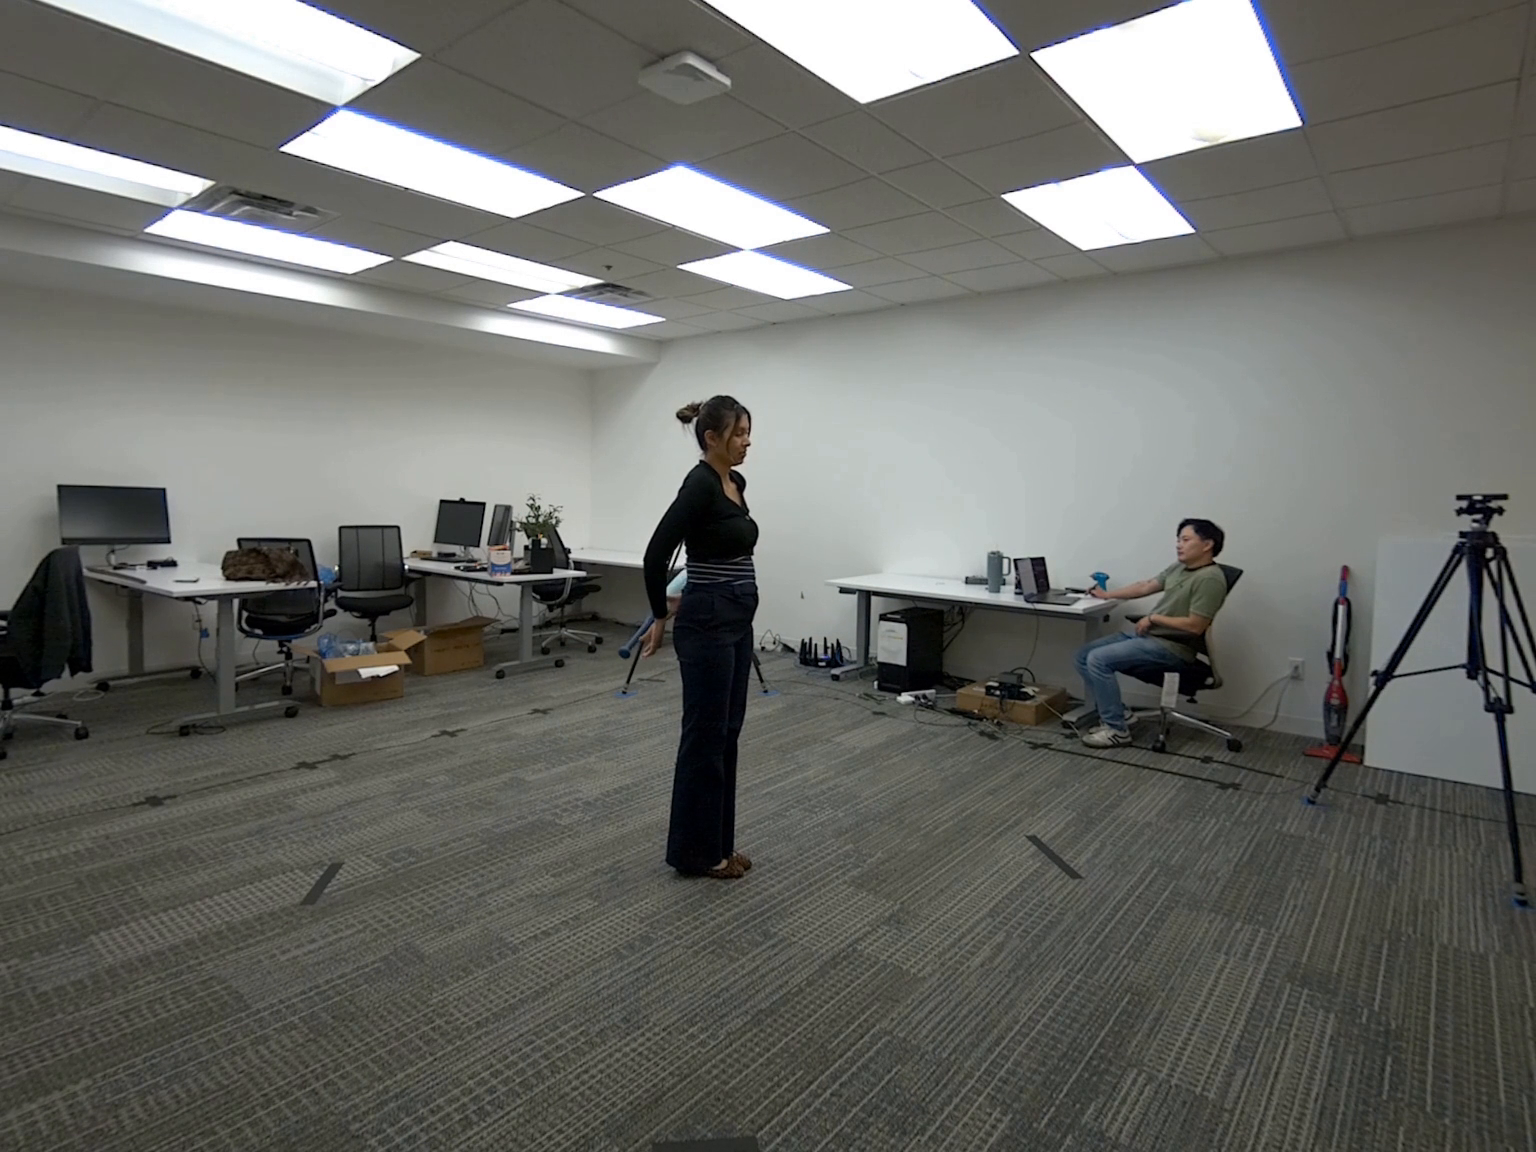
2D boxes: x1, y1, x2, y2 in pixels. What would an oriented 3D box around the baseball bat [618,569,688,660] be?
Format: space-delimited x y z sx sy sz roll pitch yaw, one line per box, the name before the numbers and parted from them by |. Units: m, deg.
baseball bat | -0.433 0.150 3.404 0.091 0.086 0.544 2 36 28
